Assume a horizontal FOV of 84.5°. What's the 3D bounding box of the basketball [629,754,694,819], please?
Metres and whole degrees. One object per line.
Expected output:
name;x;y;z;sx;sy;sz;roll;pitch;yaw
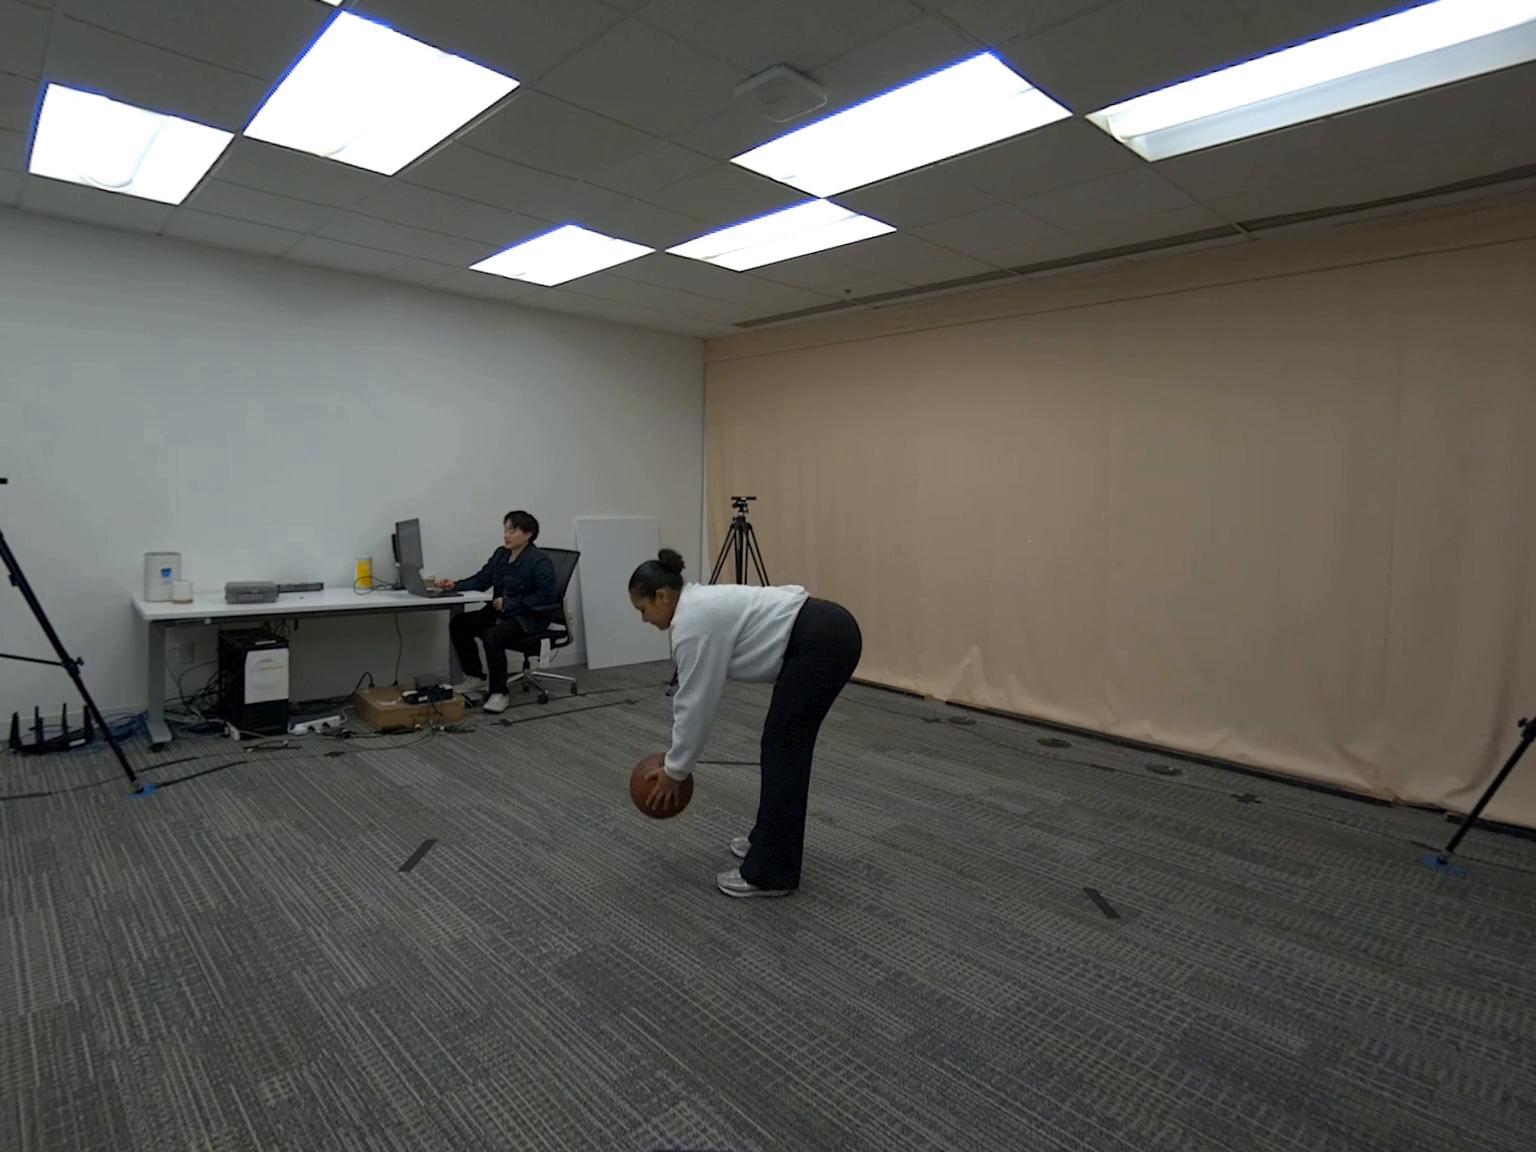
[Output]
basketball;-0.402;0.760;3.142;0.236;0.235;0.237;1;4;-1
